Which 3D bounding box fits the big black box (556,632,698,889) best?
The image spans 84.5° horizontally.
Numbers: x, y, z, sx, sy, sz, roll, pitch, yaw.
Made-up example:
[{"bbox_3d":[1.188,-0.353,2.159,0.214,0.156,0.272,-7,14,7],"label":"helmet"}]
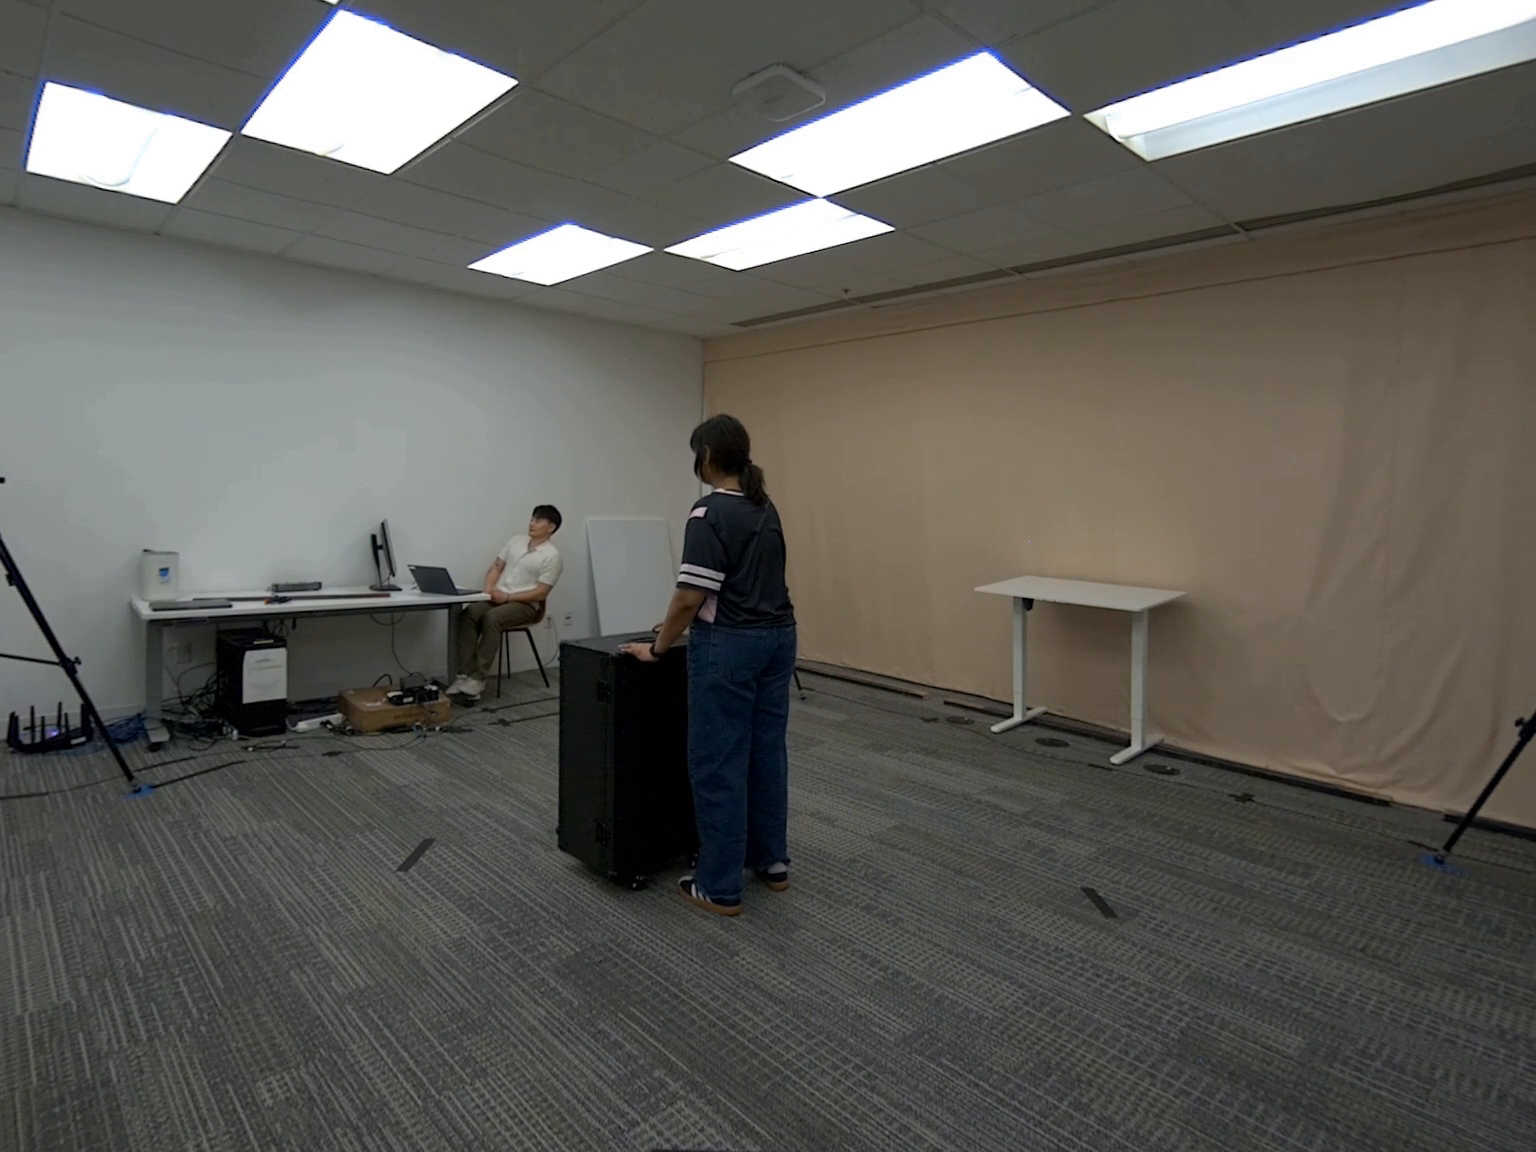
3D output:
[{"bbox_3d":[-0.502,0.670,3.157,0.511,0.867,0.395,-2,4,-44],"label":"big black box"}]
